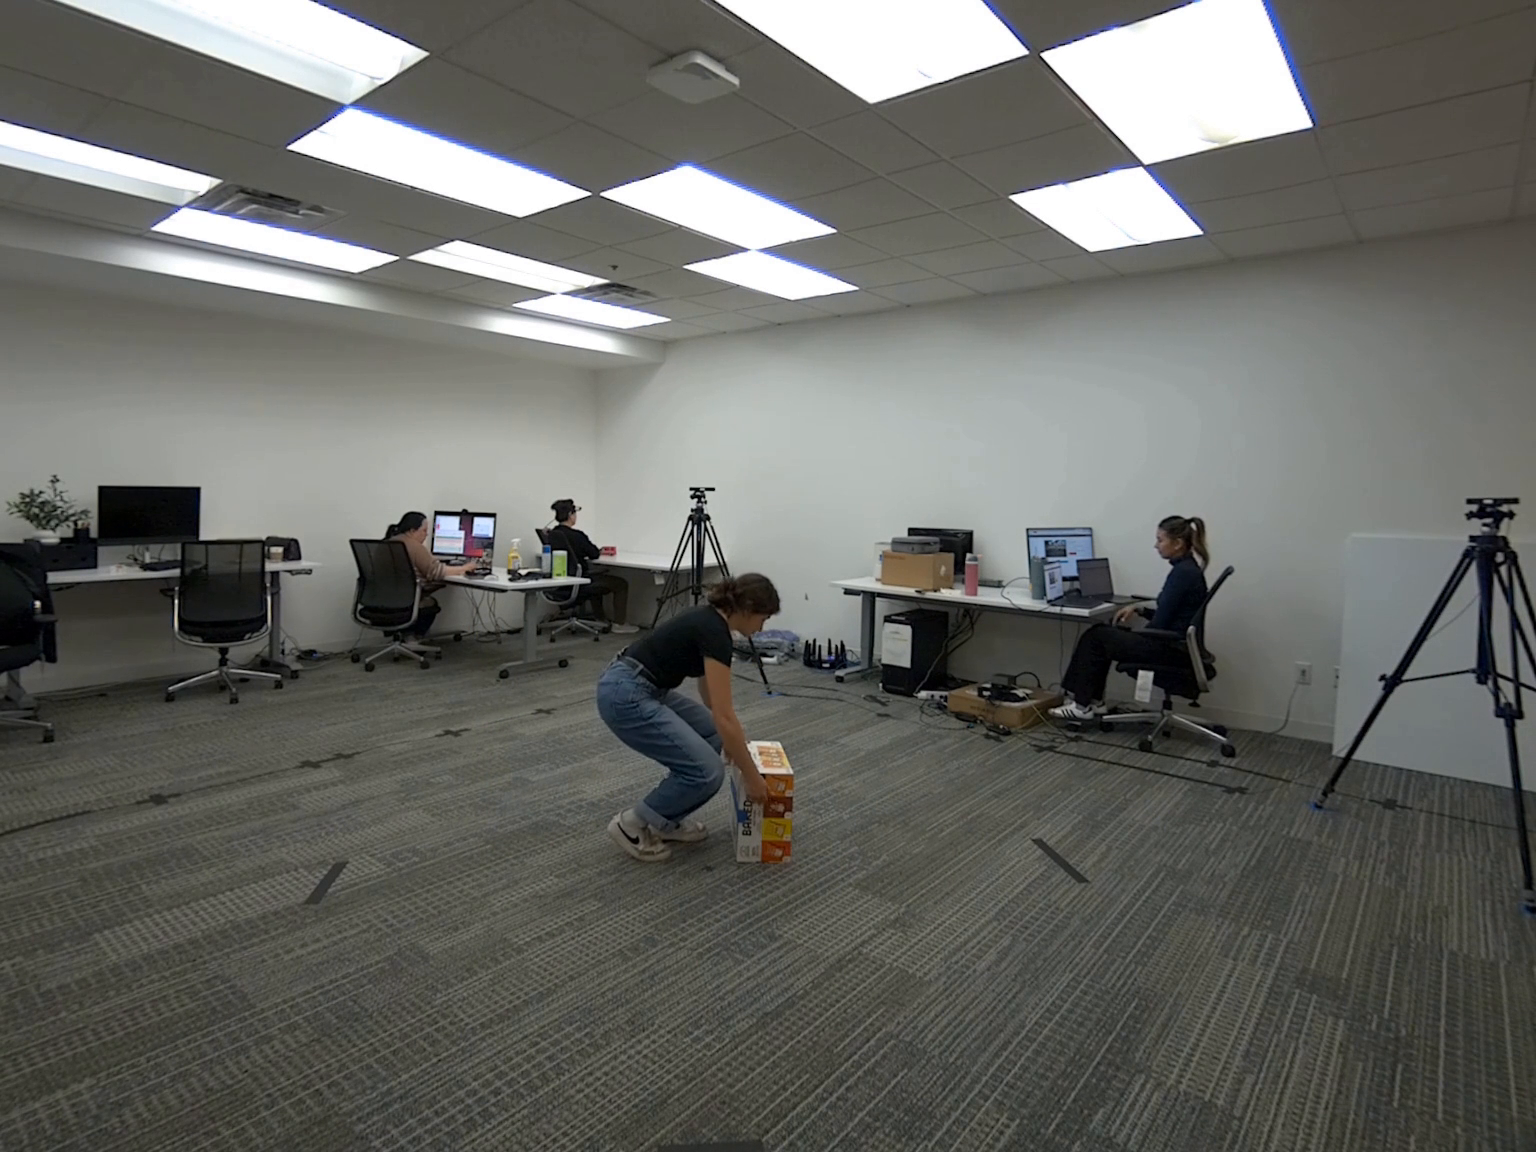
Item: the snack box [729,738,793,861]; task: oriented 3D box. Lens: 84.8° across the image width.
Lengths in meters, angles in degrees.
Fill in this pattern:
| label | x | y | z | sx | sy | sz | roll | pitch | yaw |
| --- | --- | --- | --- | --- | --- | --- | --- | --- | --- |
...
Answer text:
| label | x | y | z | sx | sy | sz | roll | pitch | yaw |
| --- | --- | --- | --- | --- | --- | --- | --- | --- | --- |
| snack box | -0.038 | 0.874 | 3.352 | 0.205 | 0.339 | 0.408 | 3 | 4 | -5 |
